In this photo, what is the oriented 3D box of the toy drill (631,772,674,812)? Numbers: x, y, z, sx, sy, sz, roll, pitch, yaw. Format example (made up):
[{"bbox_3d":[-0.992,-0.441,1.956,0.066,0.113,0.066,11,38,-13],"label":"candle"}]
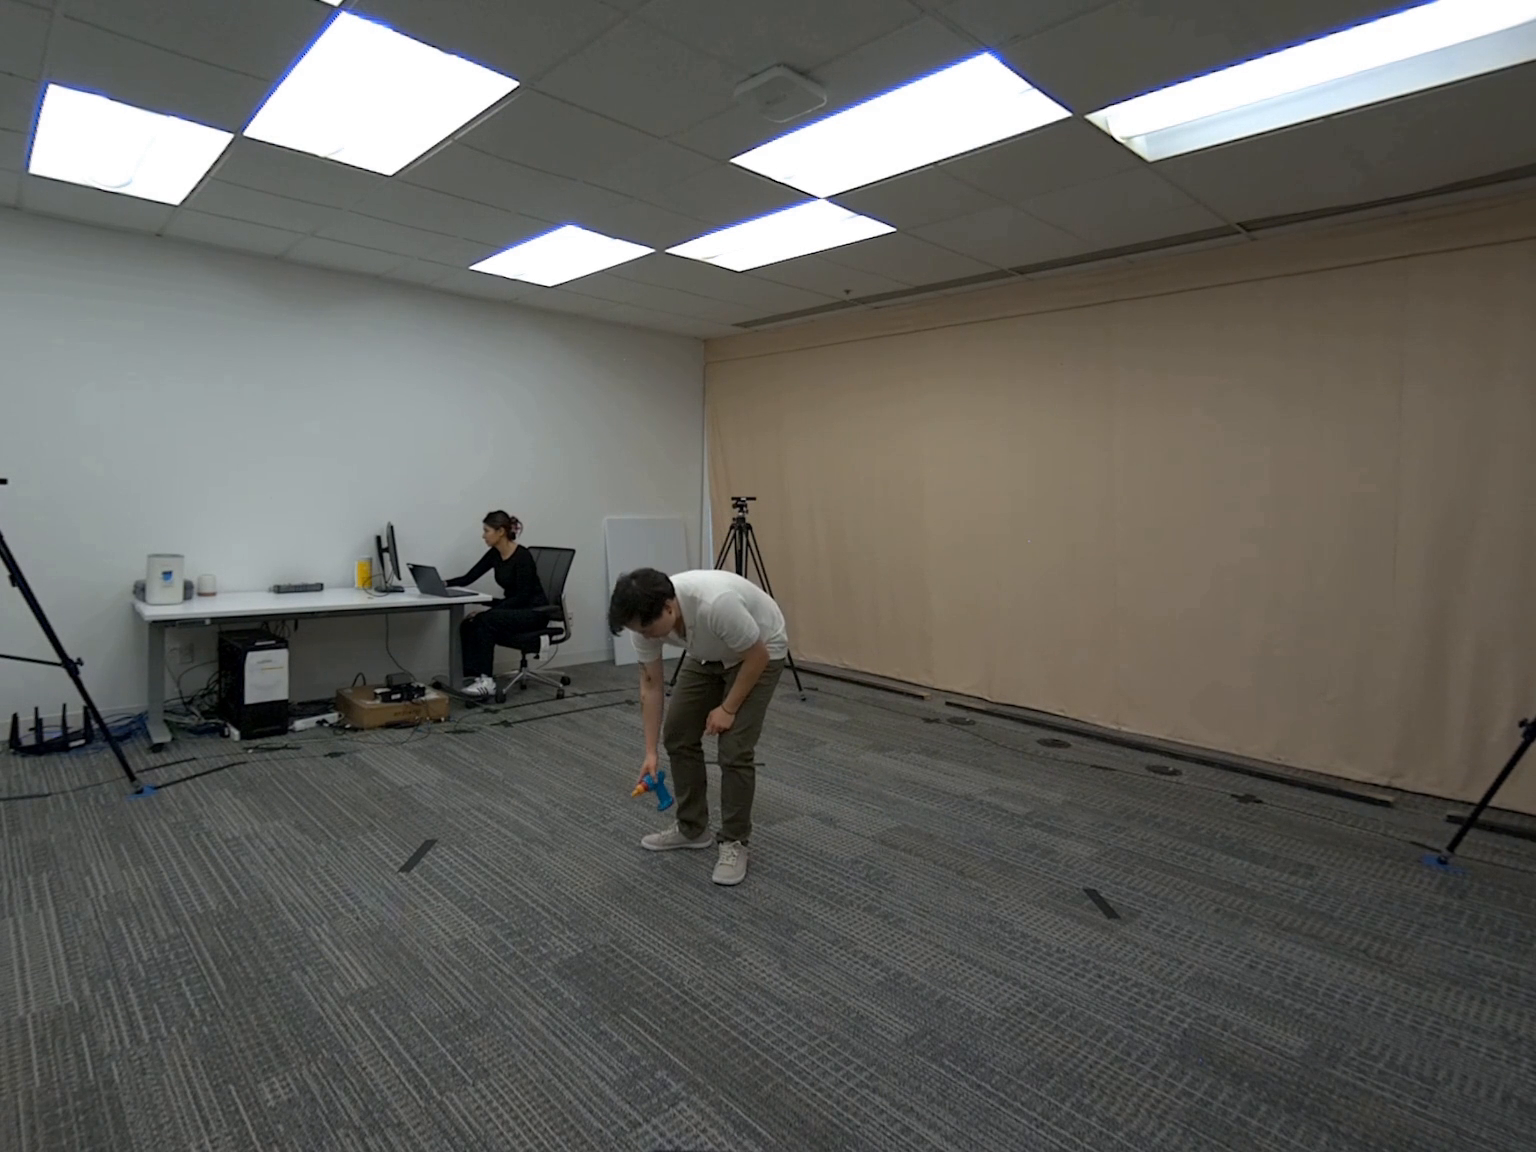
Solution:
[{"bbox_3d":[-0.445,0.844,3.120,0.144,0.171,0.061,38,-40,-12],"label":"toy drill"}]
